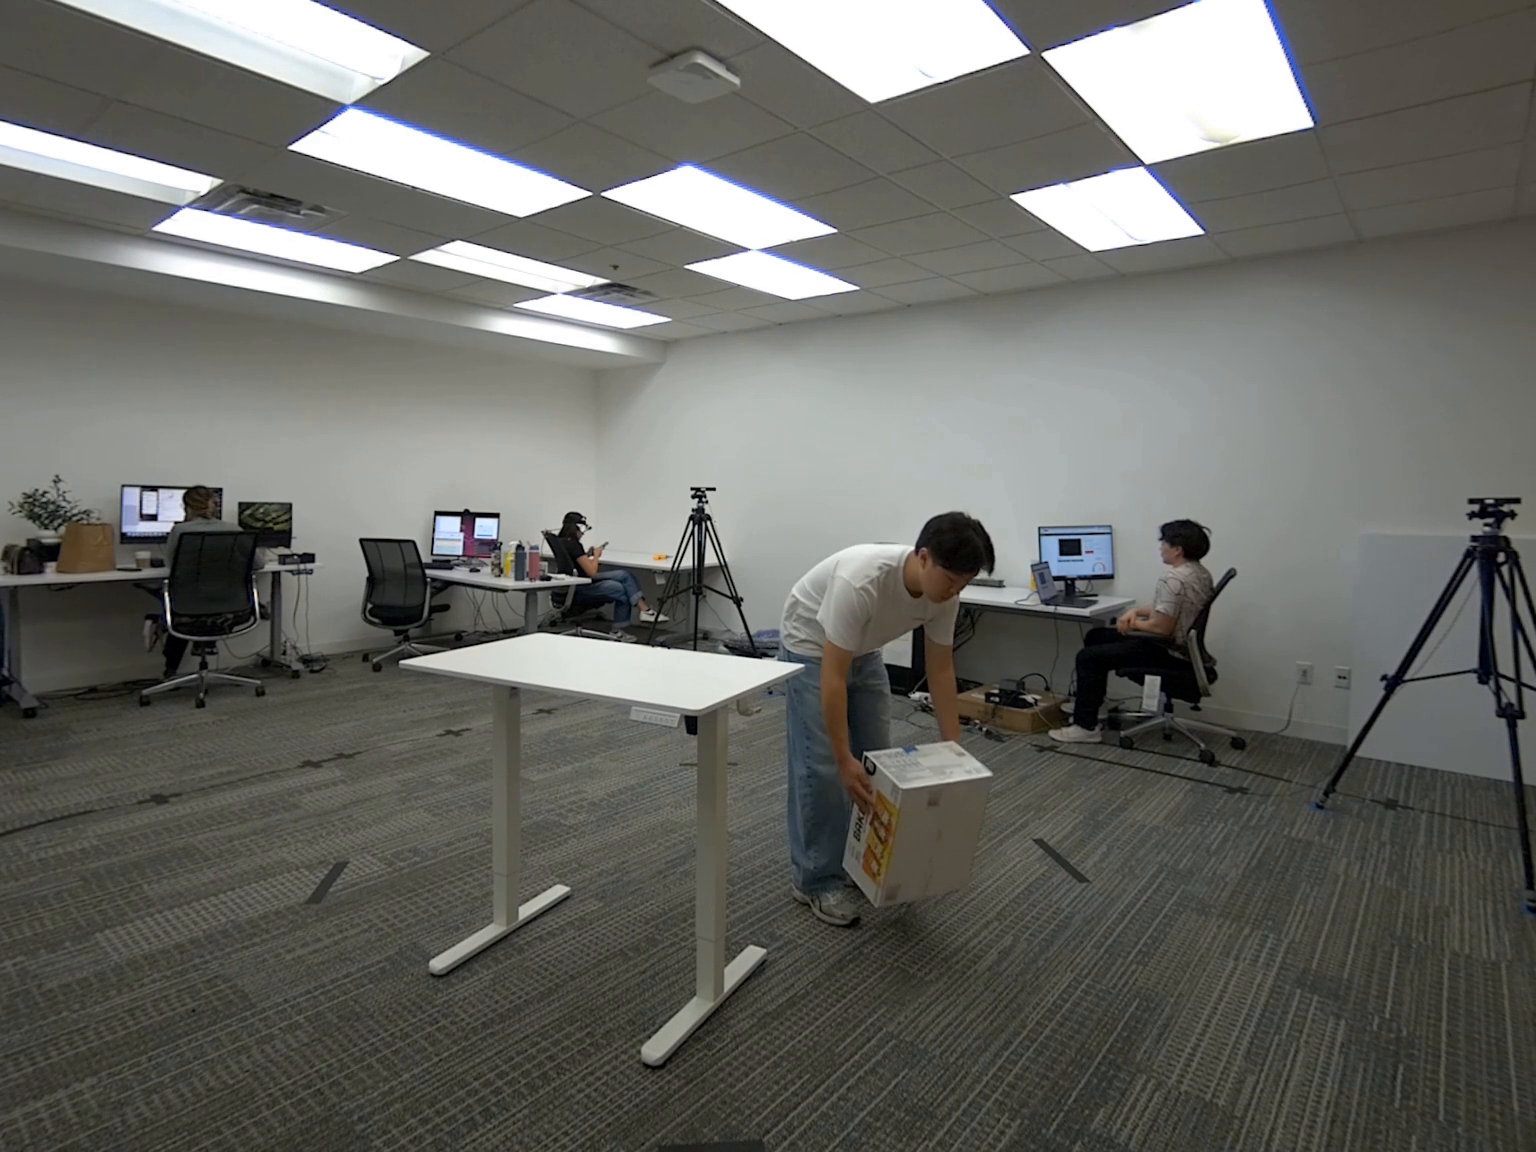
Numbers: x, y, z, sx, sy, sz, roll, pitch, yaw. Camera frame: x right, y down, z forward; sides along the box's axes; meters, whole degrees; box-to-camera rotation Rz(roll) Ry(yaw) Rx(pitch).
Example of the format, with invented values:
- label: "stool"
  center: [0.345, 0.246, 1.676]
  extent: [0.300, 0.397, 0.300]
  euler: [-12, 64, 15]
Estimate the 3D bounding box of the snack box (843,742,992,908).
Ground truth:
- label: "snack box"
  center: [0.454, 0.743, 2.612]
  extent: [0.332, 0.400, 0.213]
  euler: [-1, 16, -26]
